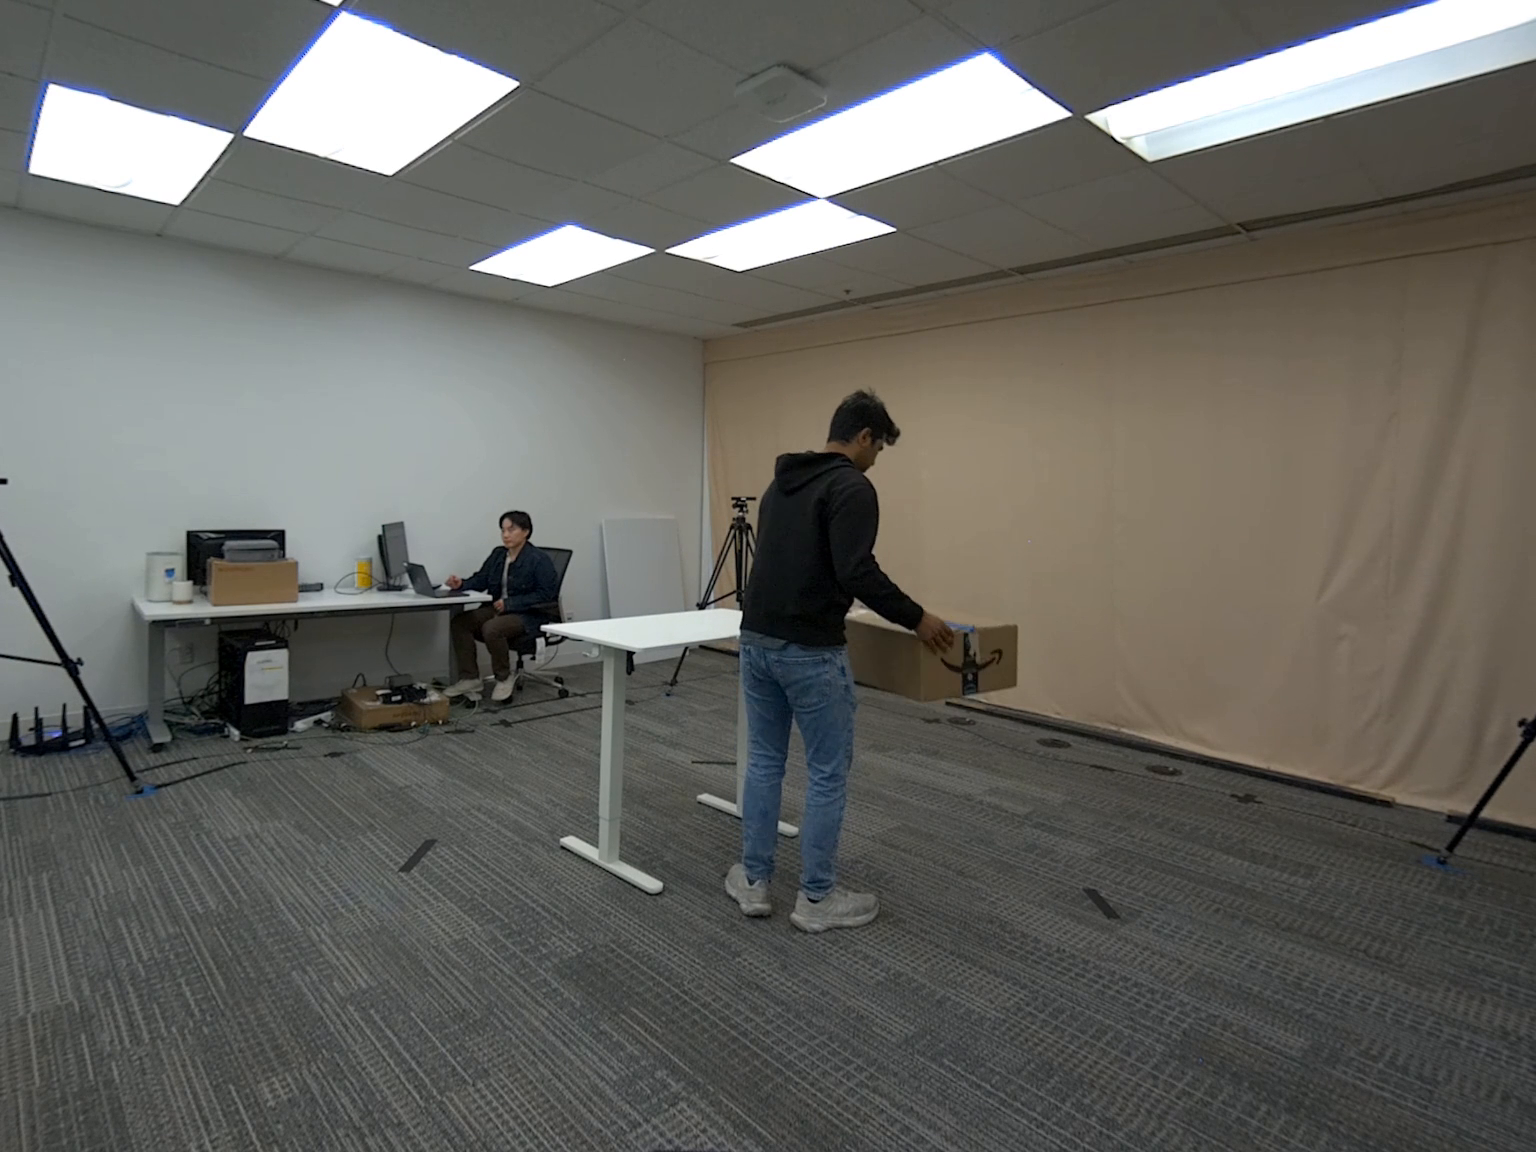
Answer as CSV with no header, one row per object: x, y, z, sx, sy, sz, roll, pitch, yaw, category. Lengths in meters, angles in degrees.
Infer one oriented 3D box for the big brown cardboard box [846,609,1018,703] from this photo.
0.509,0.263,3.006,0.410,0.232,0.603,-4,8,-29,big brown cardboard box
